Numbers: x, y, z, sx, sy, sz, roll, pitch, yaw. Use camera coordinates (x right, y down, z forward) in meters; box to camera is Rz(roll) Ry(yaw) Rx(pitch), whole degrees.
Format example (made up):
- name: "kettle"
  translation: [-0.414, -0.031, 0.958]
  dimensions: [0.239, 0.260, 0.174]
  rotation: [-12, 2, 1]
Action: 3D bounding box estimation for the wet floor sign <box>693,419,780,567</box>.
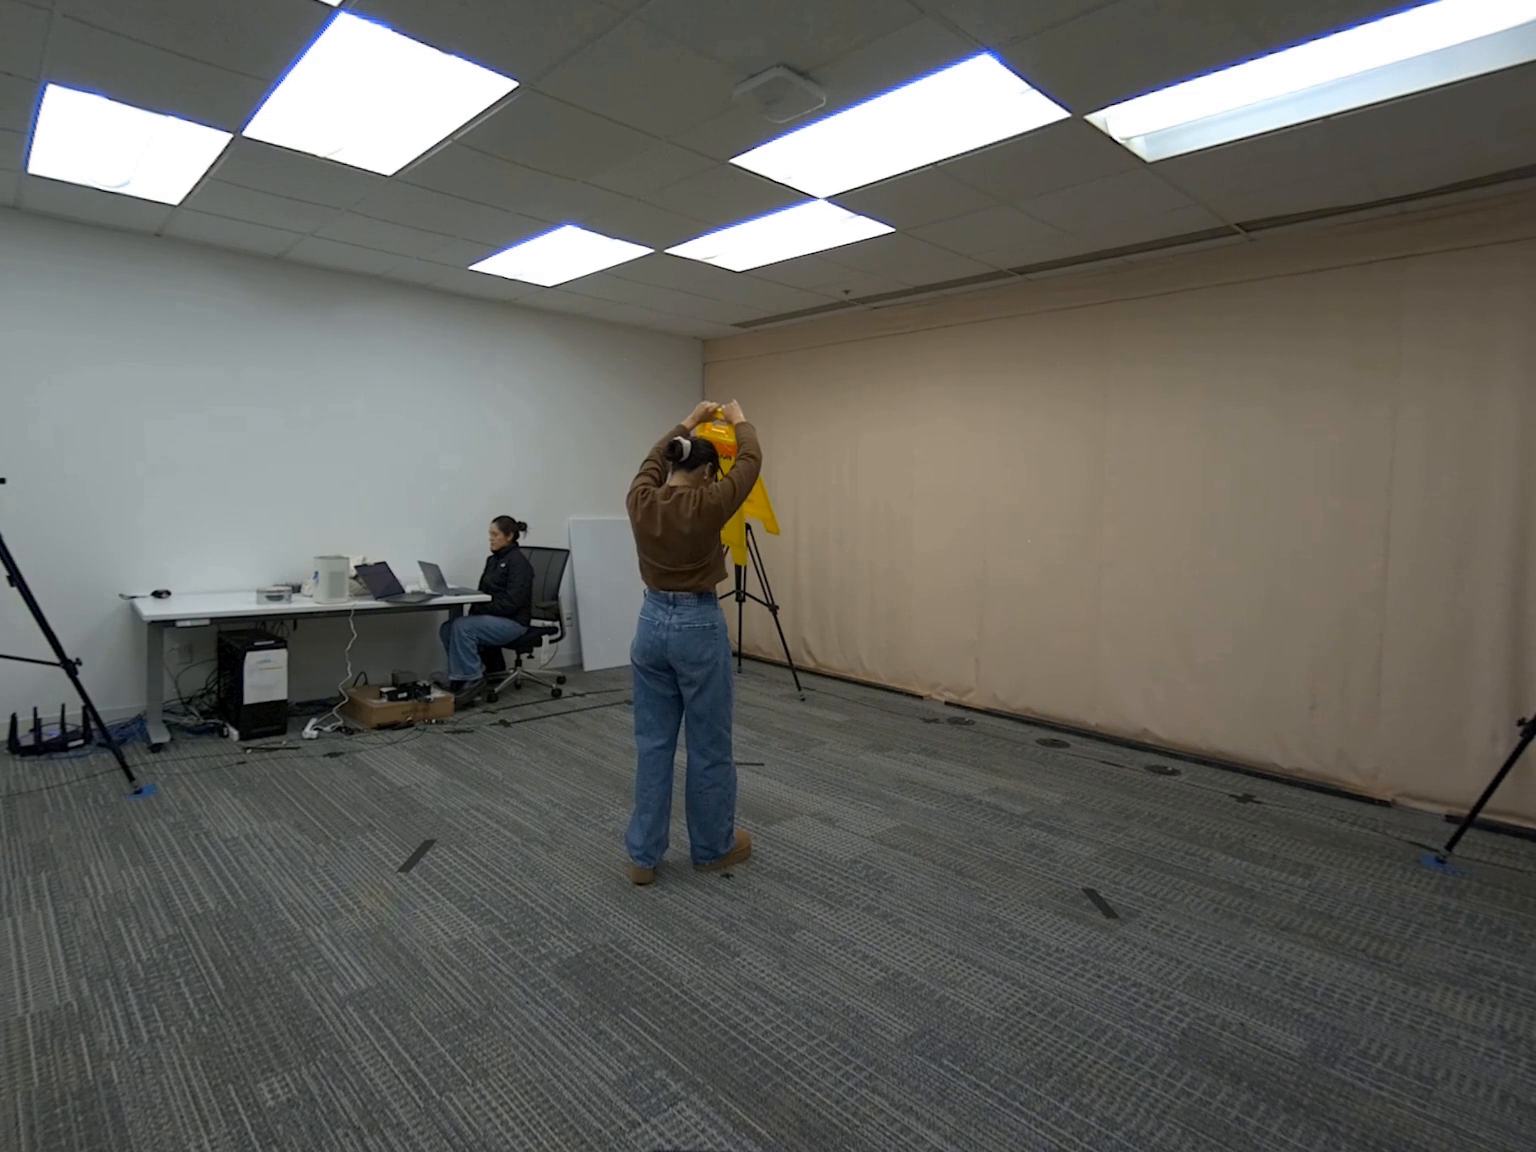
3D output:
- name: "wet floor sign"
  translation: [-0.173, -0.408, 3.552]
  dimensions: [0.290, 0.631, 0.288]
  rotation: [18, 41, 33]
